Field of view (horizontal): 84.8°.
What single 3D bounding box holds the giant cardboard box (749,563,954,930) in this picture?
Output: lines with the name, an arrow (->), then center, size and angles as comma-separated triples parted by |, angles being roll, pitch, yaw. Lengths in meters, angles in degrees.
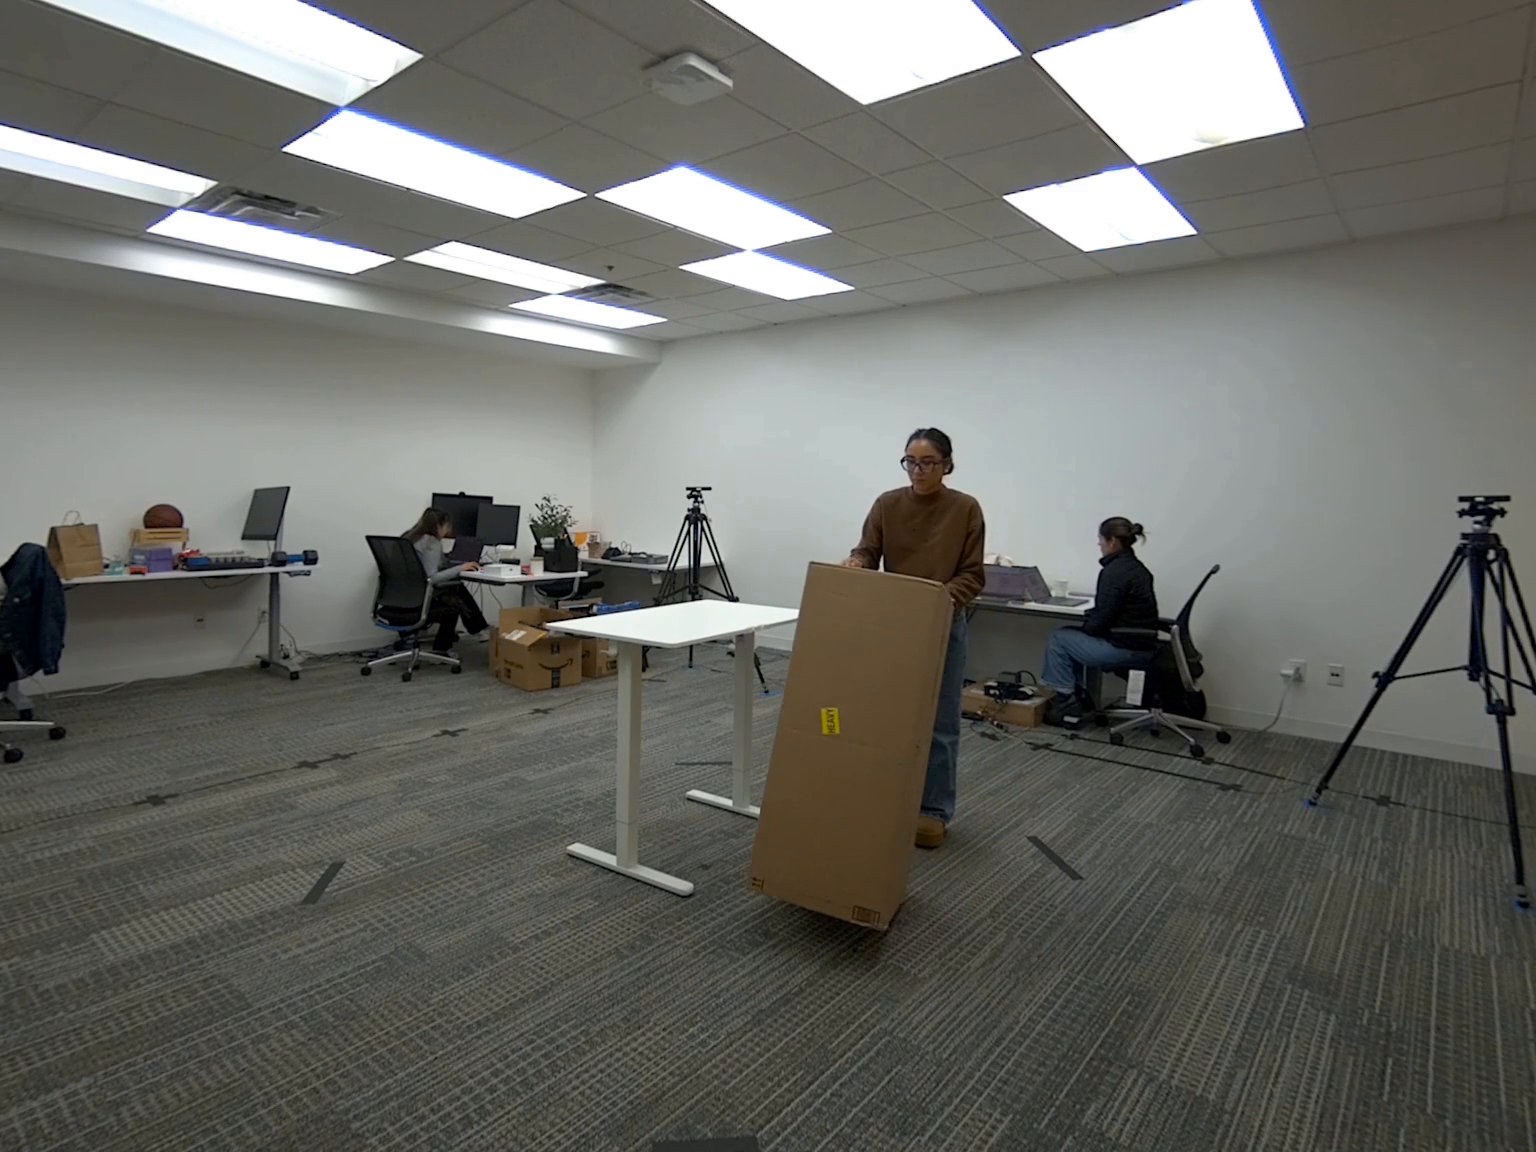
giant cardboard box -> 0.294, 0.528, 2.835 | 0.436, 1.032, 0.561 | 9, -8, 19
